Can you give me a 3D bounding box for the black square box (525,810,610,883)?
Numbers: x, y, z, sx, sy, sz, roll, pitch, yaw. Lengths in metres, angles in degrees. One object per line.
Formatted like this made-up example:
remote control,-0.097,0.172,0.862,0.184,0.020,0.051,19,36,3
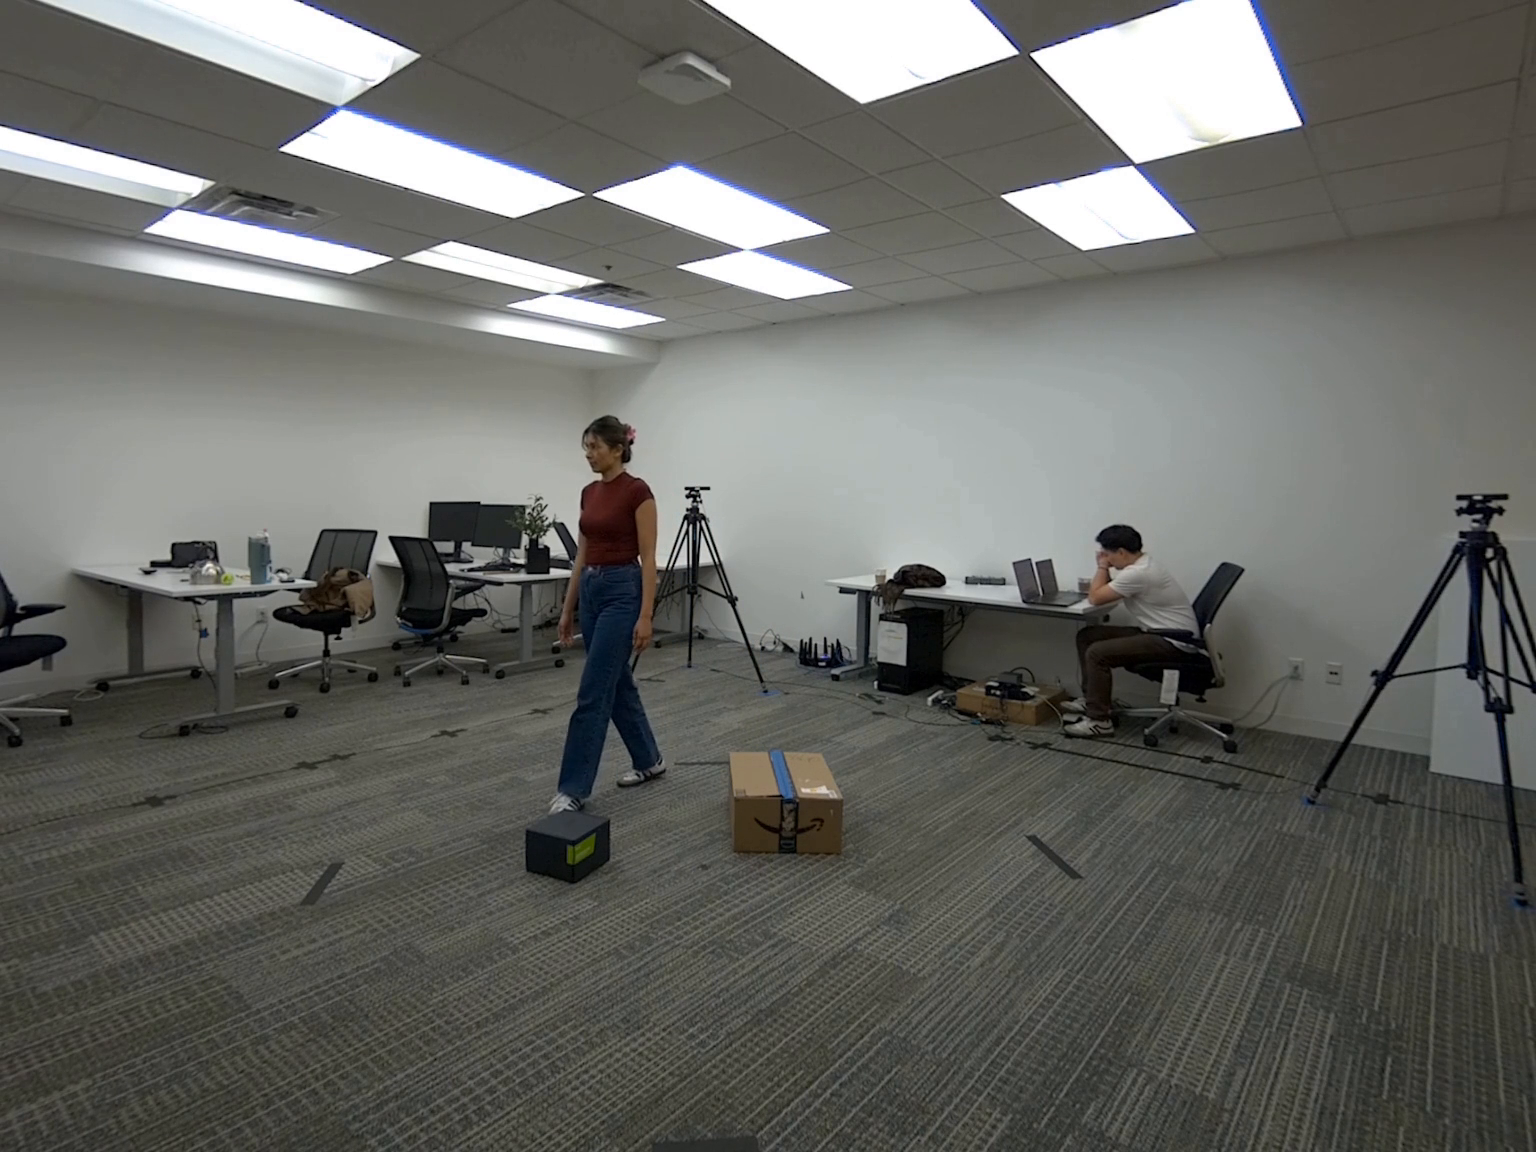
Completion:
black square box,-0.738,0.972,3.105,0.222,0.155,0.223,3,5,24
